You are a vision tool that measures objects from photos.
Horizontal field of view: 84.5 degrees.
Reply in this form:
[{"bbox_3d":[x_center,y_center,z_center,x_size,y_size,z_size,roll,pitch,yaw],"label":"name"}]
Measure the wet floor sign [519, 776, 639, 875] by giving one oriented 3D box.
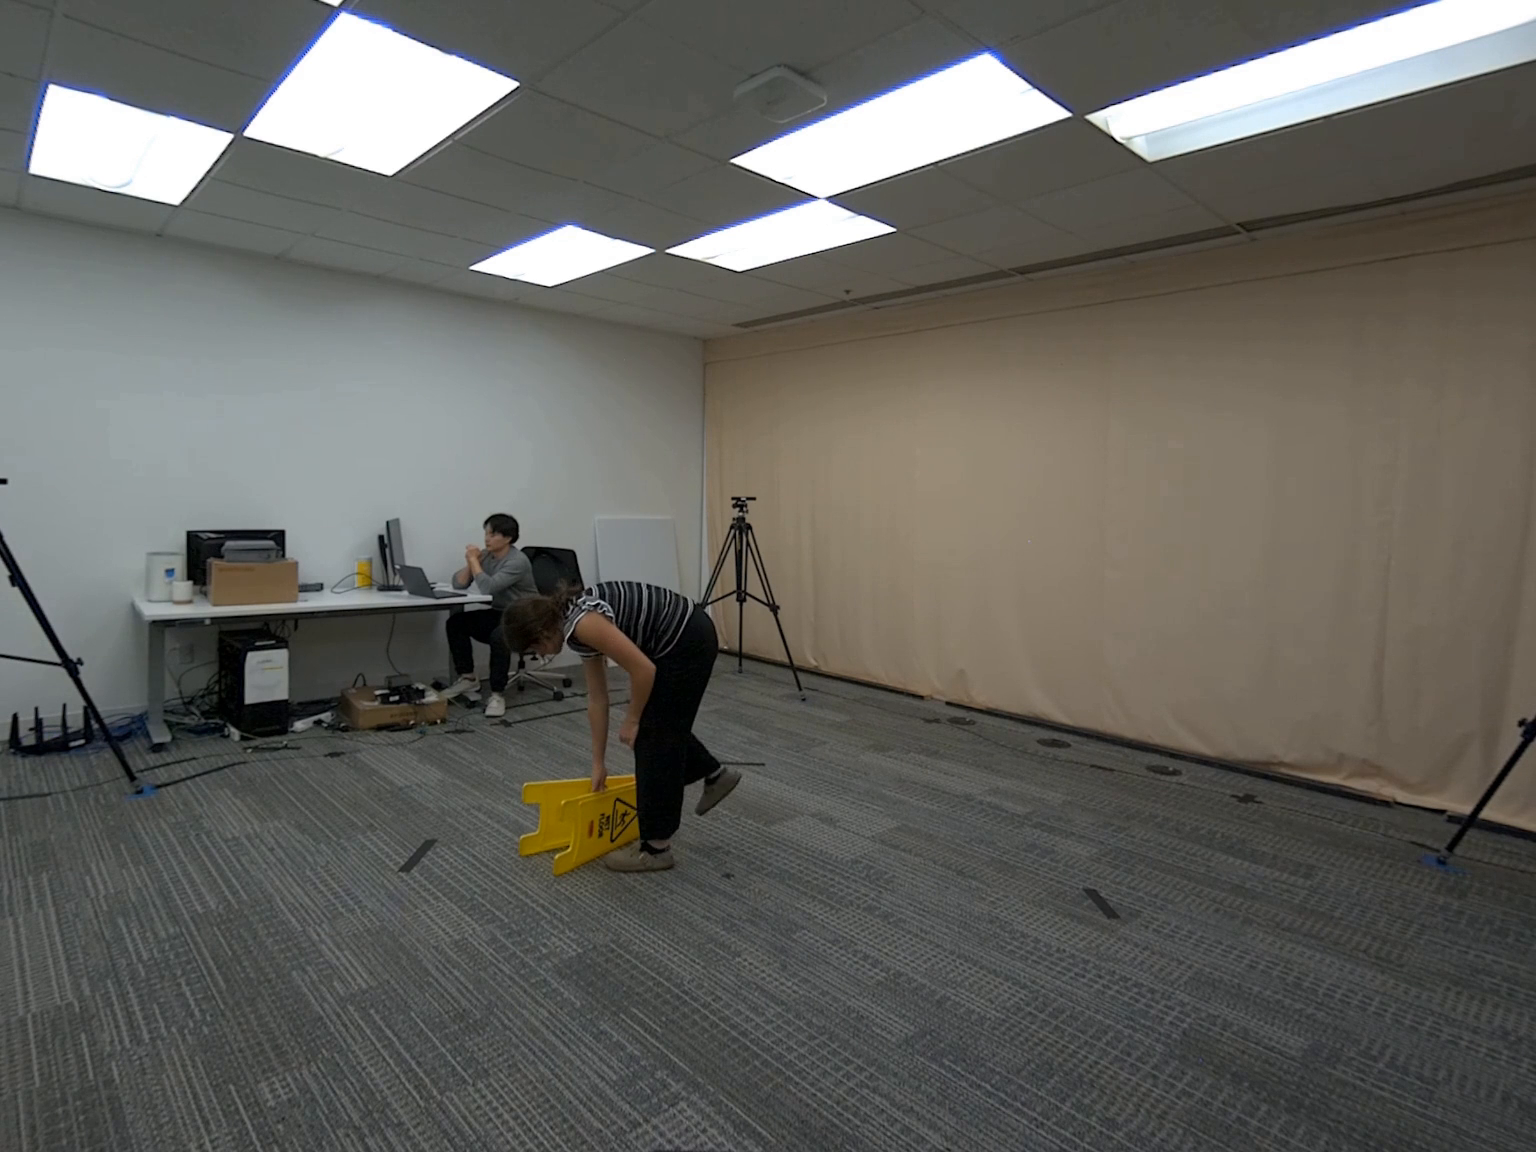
[{"bbox_3d":[-0.647,0.945,3.373,0.297,0.282,0.630,6,3,42],"label":"wet floor sign"}]
